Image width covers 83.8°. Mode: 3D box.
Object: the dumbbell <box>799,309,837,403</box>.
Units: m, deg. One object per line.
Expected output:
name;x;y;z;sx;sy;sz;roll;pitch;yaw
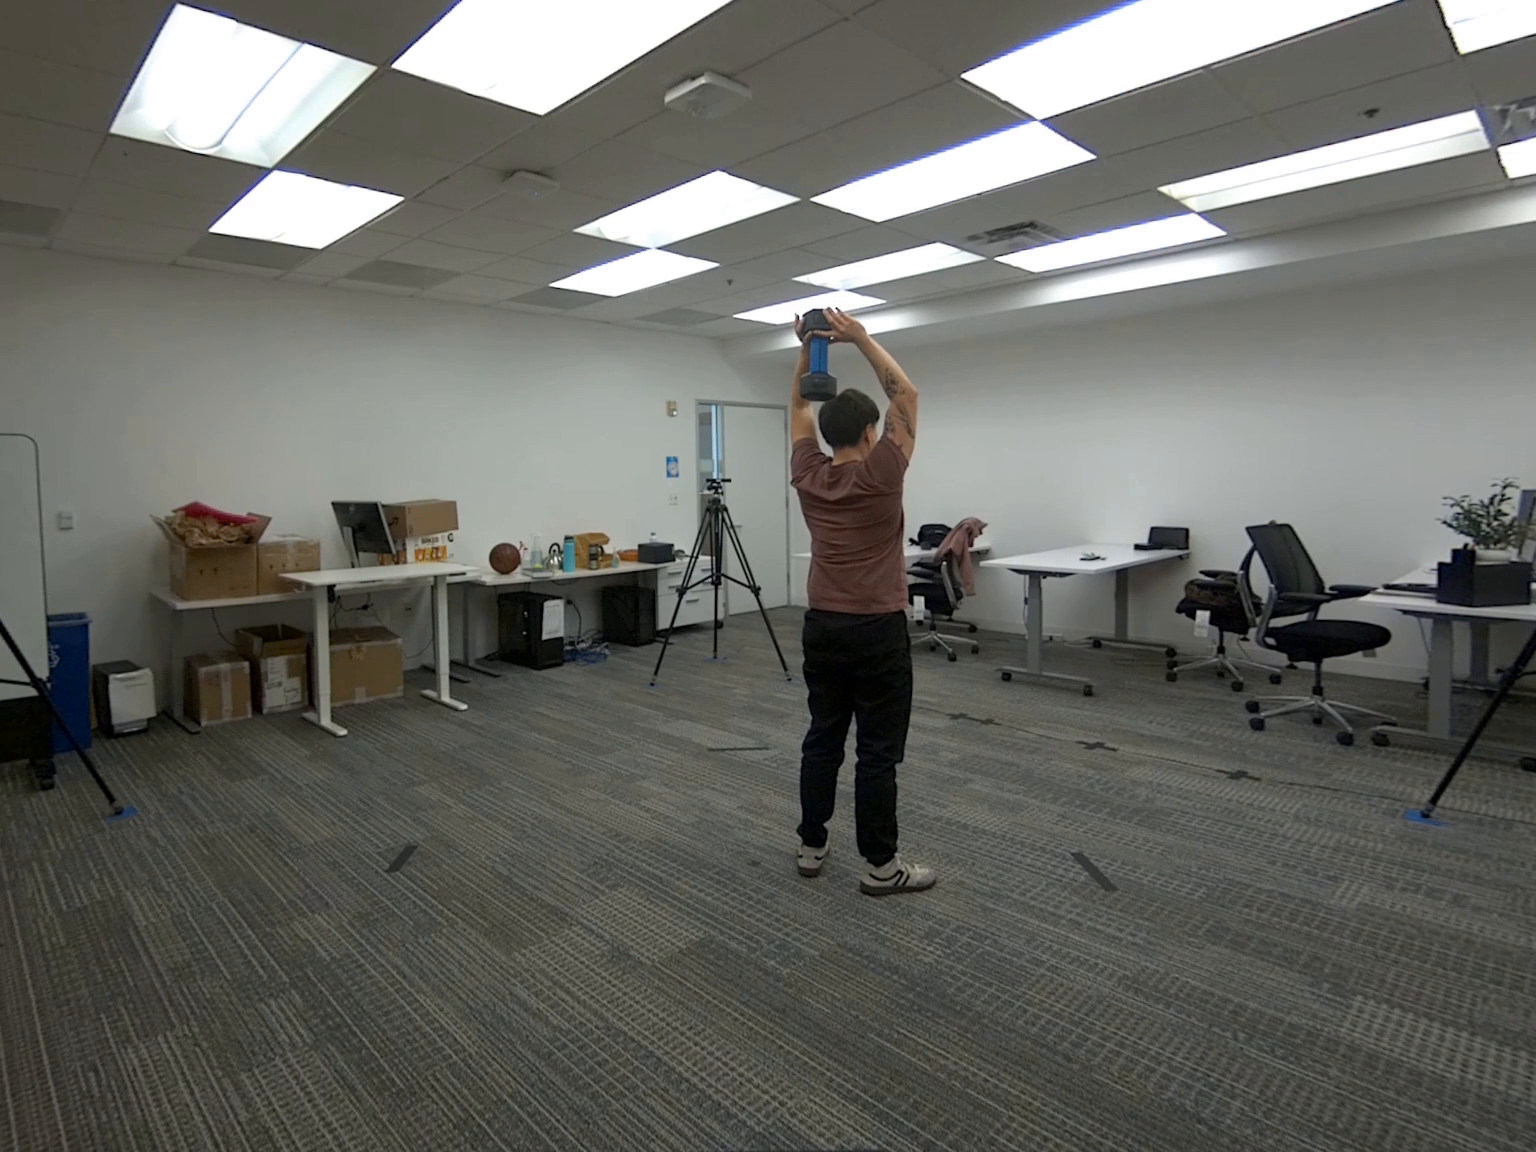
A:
dumbbell;0.175;-0.728;2.823;0.112;0.295;0.119;1;-7;39
